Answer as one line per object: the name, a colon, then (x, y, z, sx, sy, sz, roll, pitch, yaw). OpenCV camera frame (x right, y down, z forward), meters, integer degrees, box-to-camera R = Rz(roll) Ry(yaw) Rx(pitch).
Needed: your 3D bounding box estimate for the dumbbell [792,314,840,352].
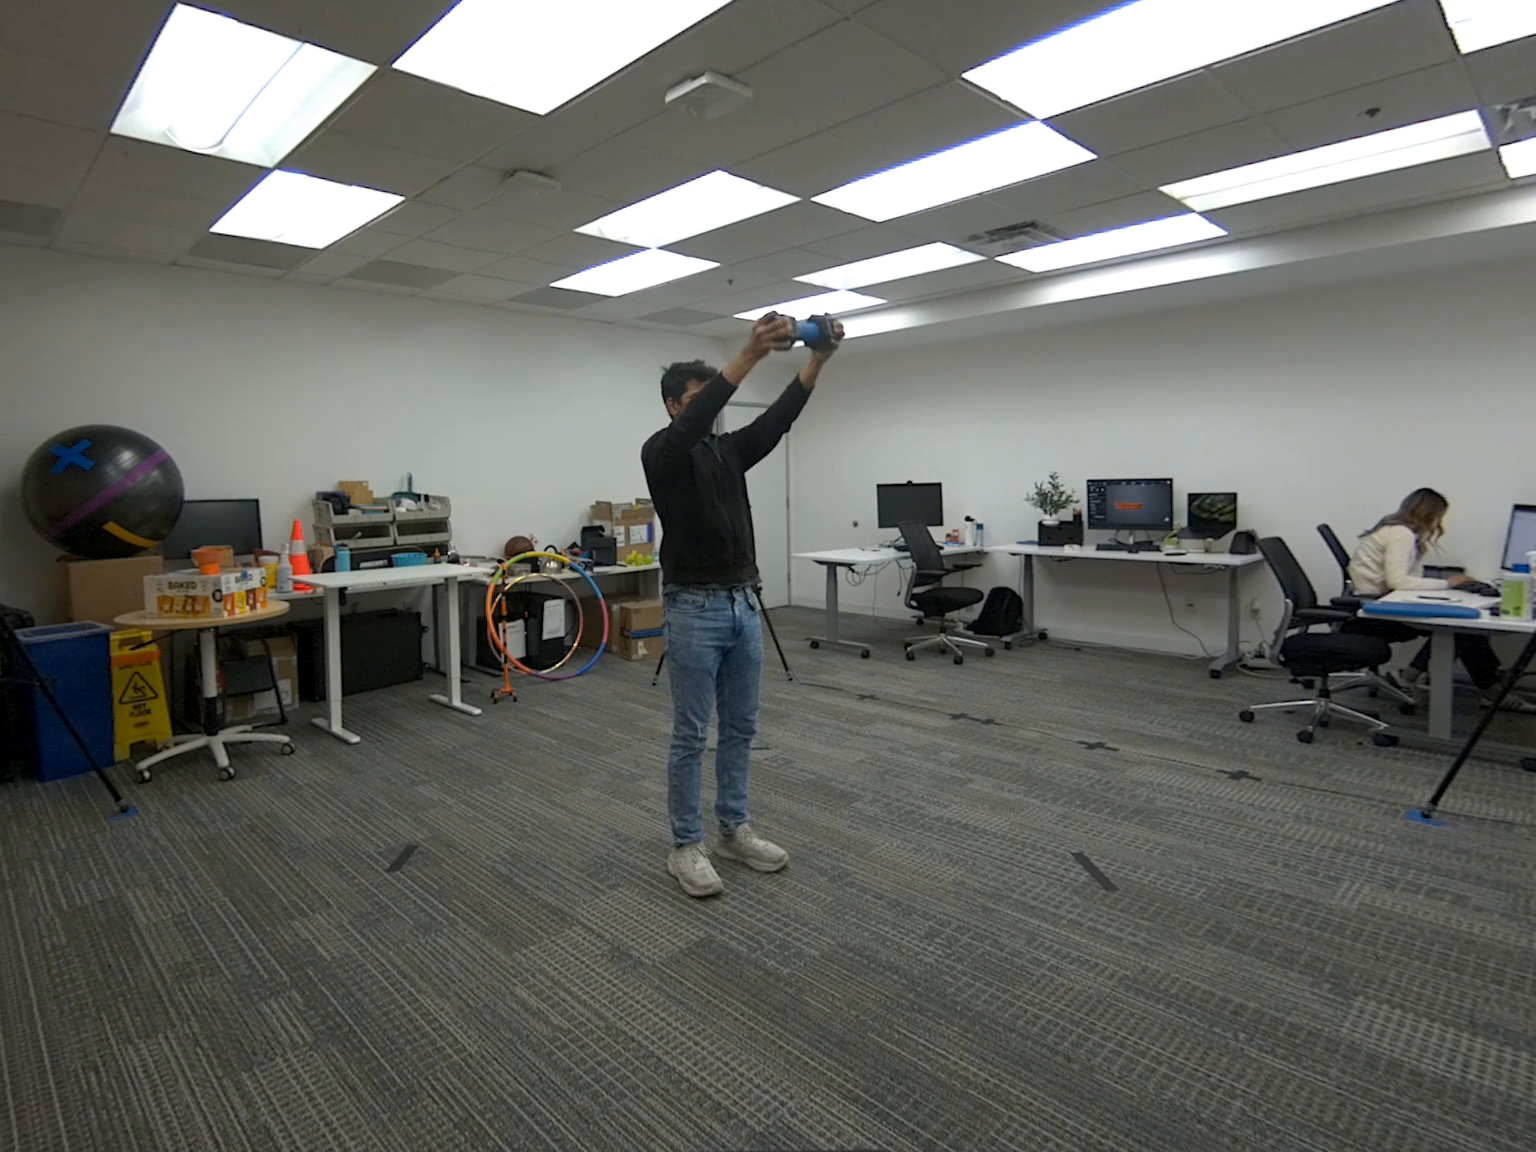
dumbbell: (0.100, -0.758, 2.703, 0.111, 0.123, 0.287, -13, 1, 45)
